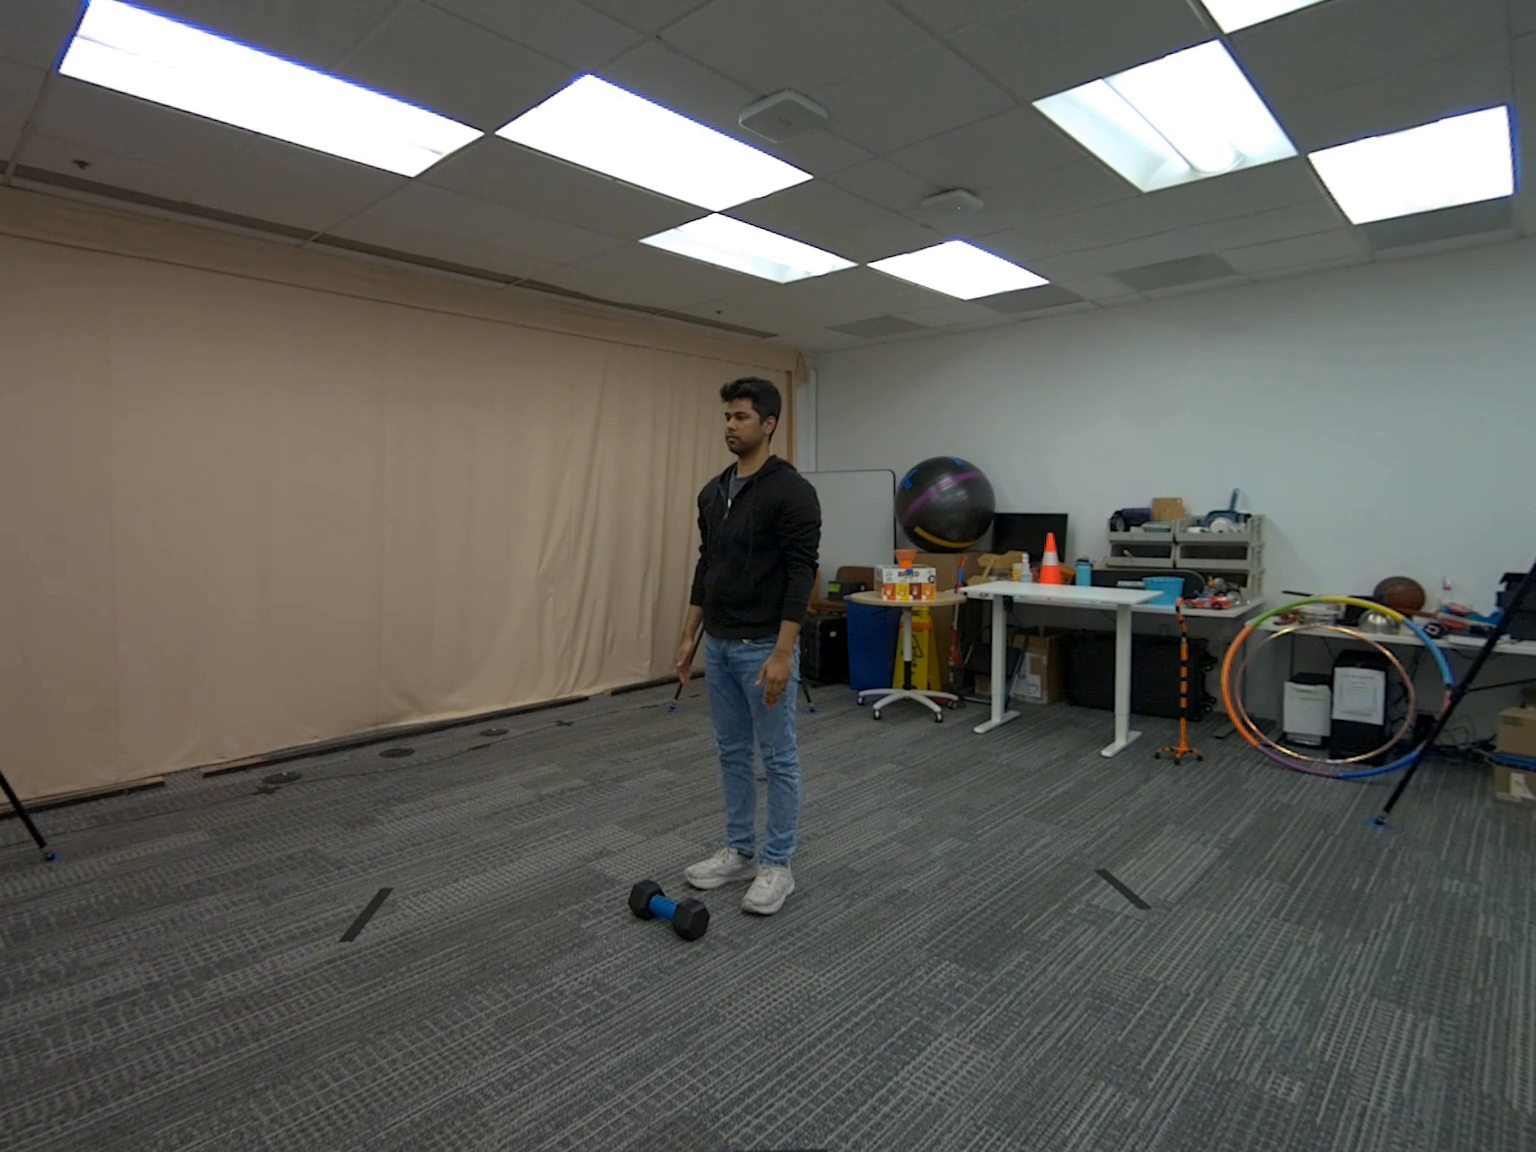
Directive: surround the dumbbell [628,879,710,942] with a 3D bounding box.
[{"bbox_3d":[-0.327,1.109,2.793,0.303,0.120,0.108,3,35,41],"label":"dumbbell"}]
